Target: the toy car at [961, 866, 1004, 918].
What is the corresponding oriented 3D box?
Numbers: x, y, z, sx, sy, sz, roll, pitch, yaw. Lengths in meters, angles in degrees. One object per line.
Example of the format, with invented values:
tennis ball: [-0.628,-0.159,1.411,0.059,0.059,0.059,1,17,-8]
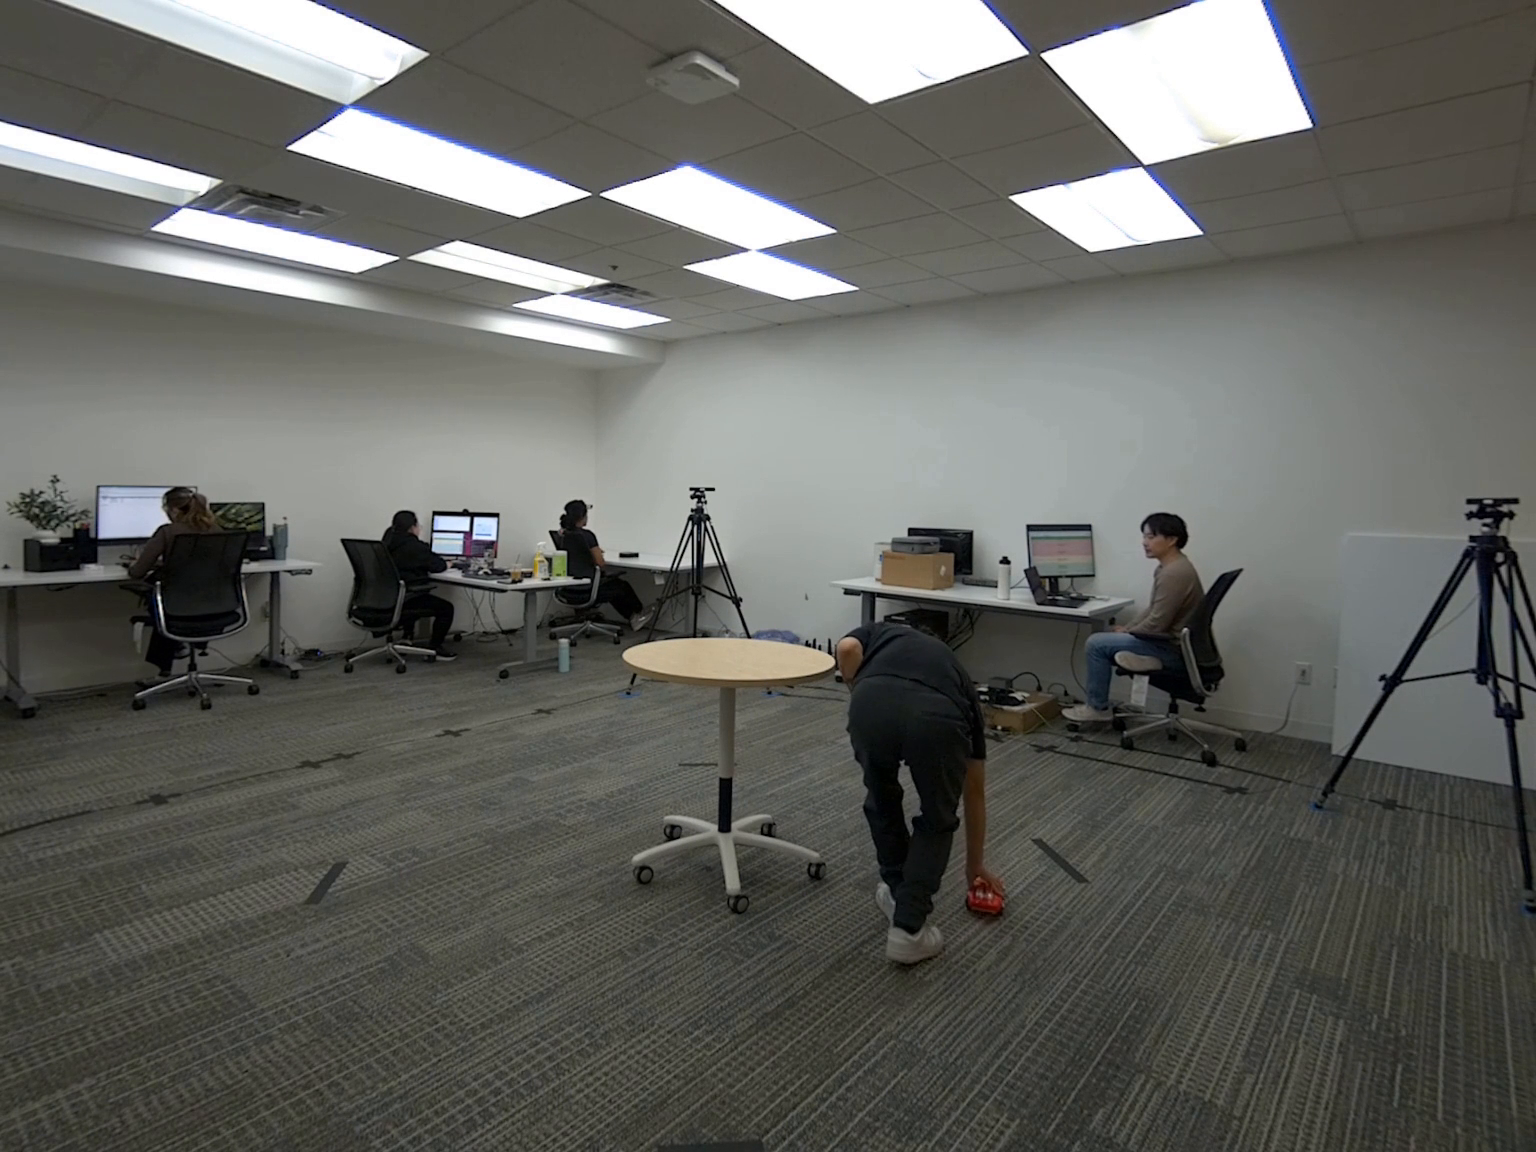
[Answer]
toy car: [0.735,1.082,2.898,0.132,0.083,0.249,2,-5,15]
